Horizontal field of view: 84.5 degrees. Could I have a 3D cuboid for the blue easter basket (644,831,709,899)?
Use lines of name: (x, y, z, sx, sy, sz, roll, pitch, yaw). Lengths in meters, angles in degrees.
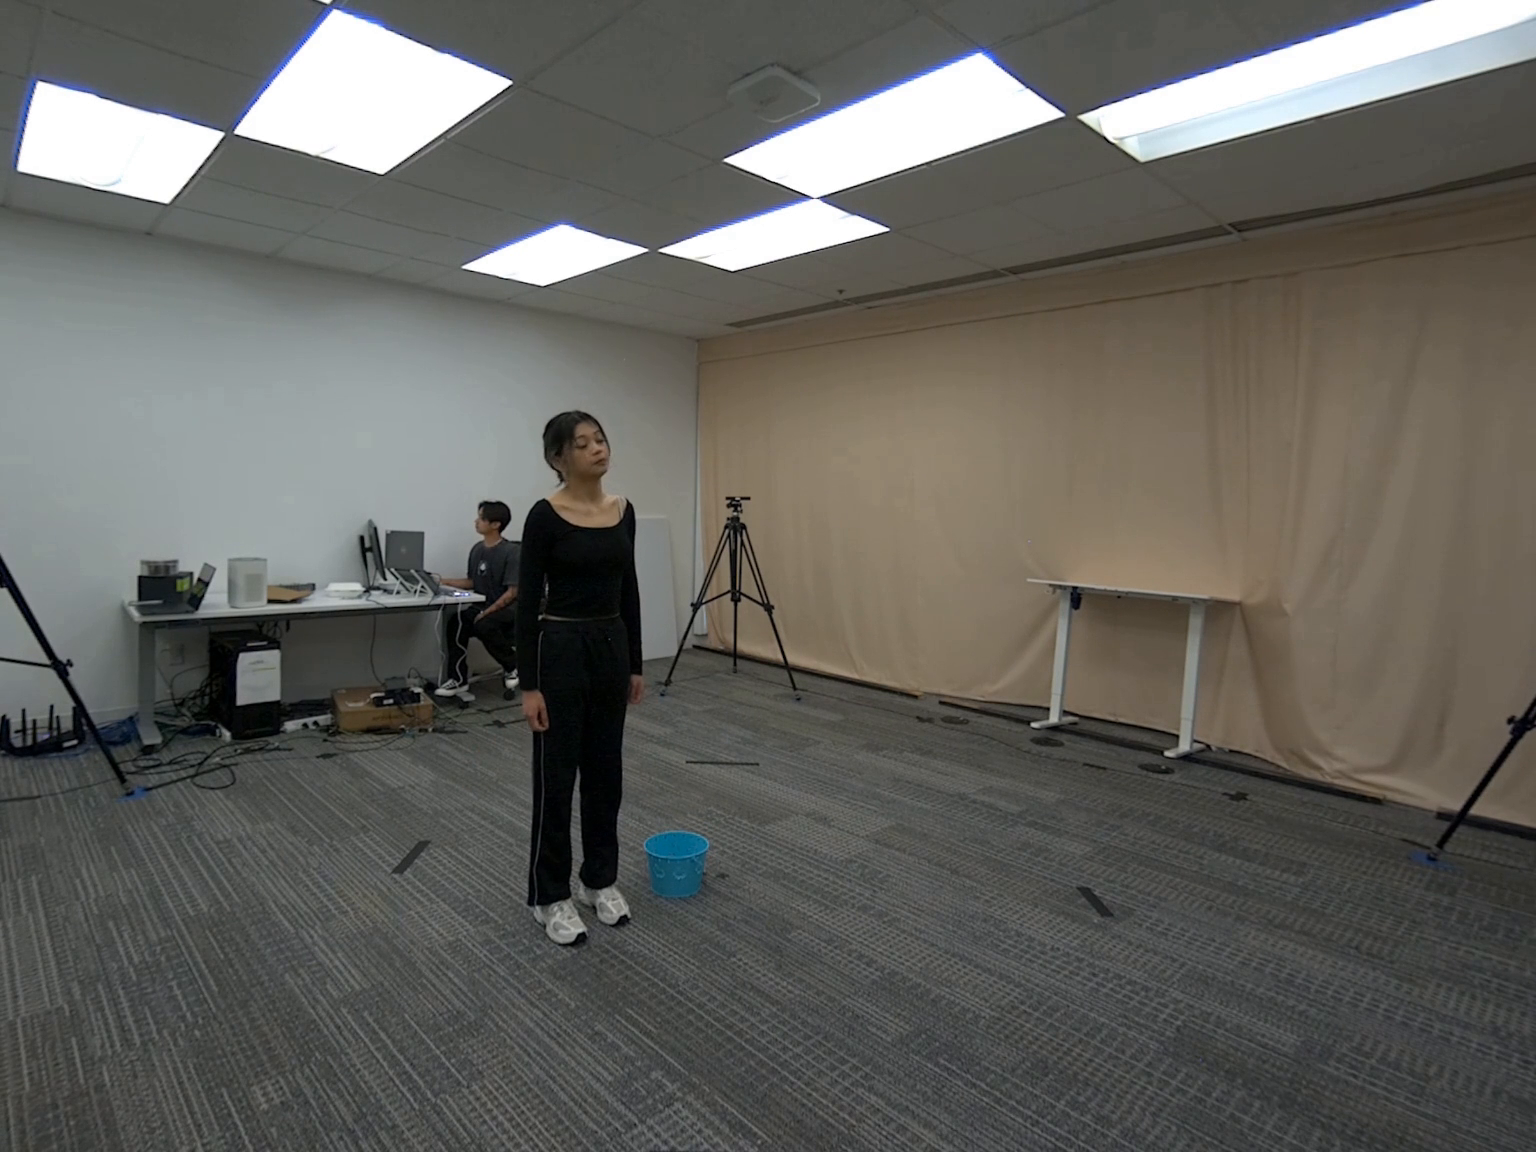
blue easter basket: (-0.330, 1.035, 3.008, 0.243, 0.155, 0.244, 1, 5, -1)
